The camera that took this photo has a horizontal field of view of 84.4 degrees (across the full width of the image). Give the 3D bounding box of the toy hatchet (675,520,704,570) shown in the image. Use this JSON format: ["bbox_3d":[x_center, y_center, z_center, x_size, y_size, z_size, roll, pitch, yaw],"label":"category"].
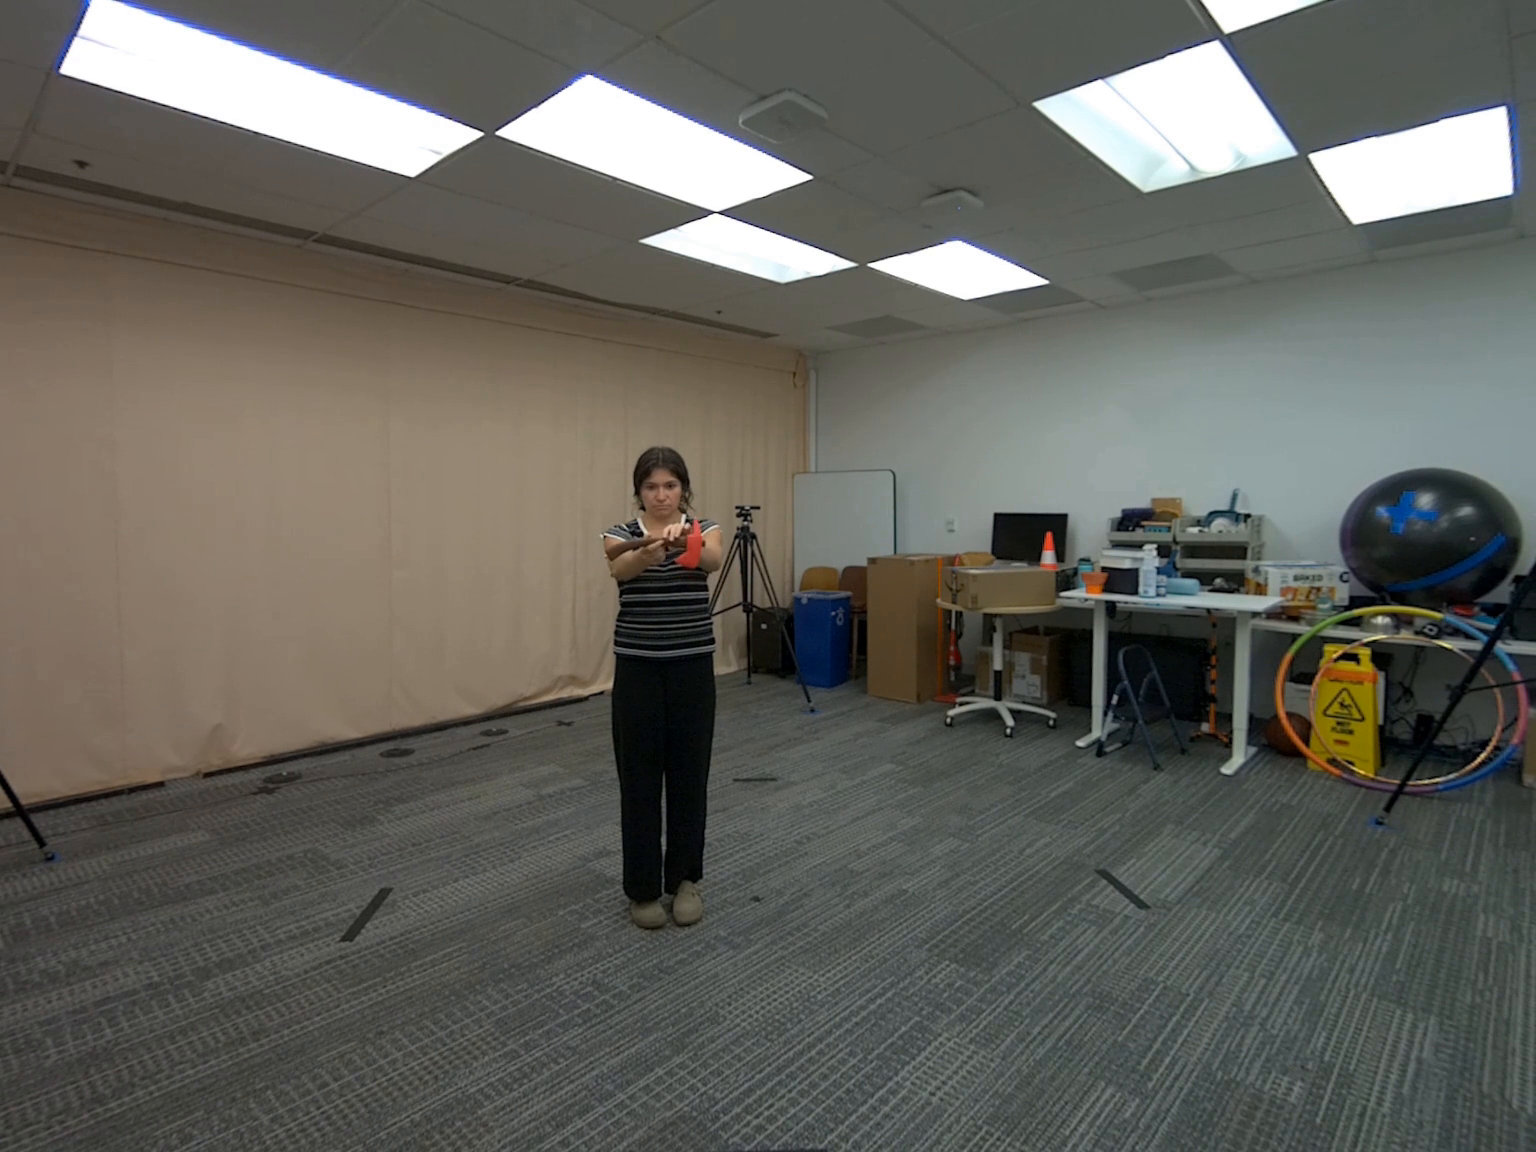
[{"bbox_3d":[-0.302,-0.063,2.306,0.269,0.130,0.030,-14,9,-3],"label":"toy hatchet"}]
